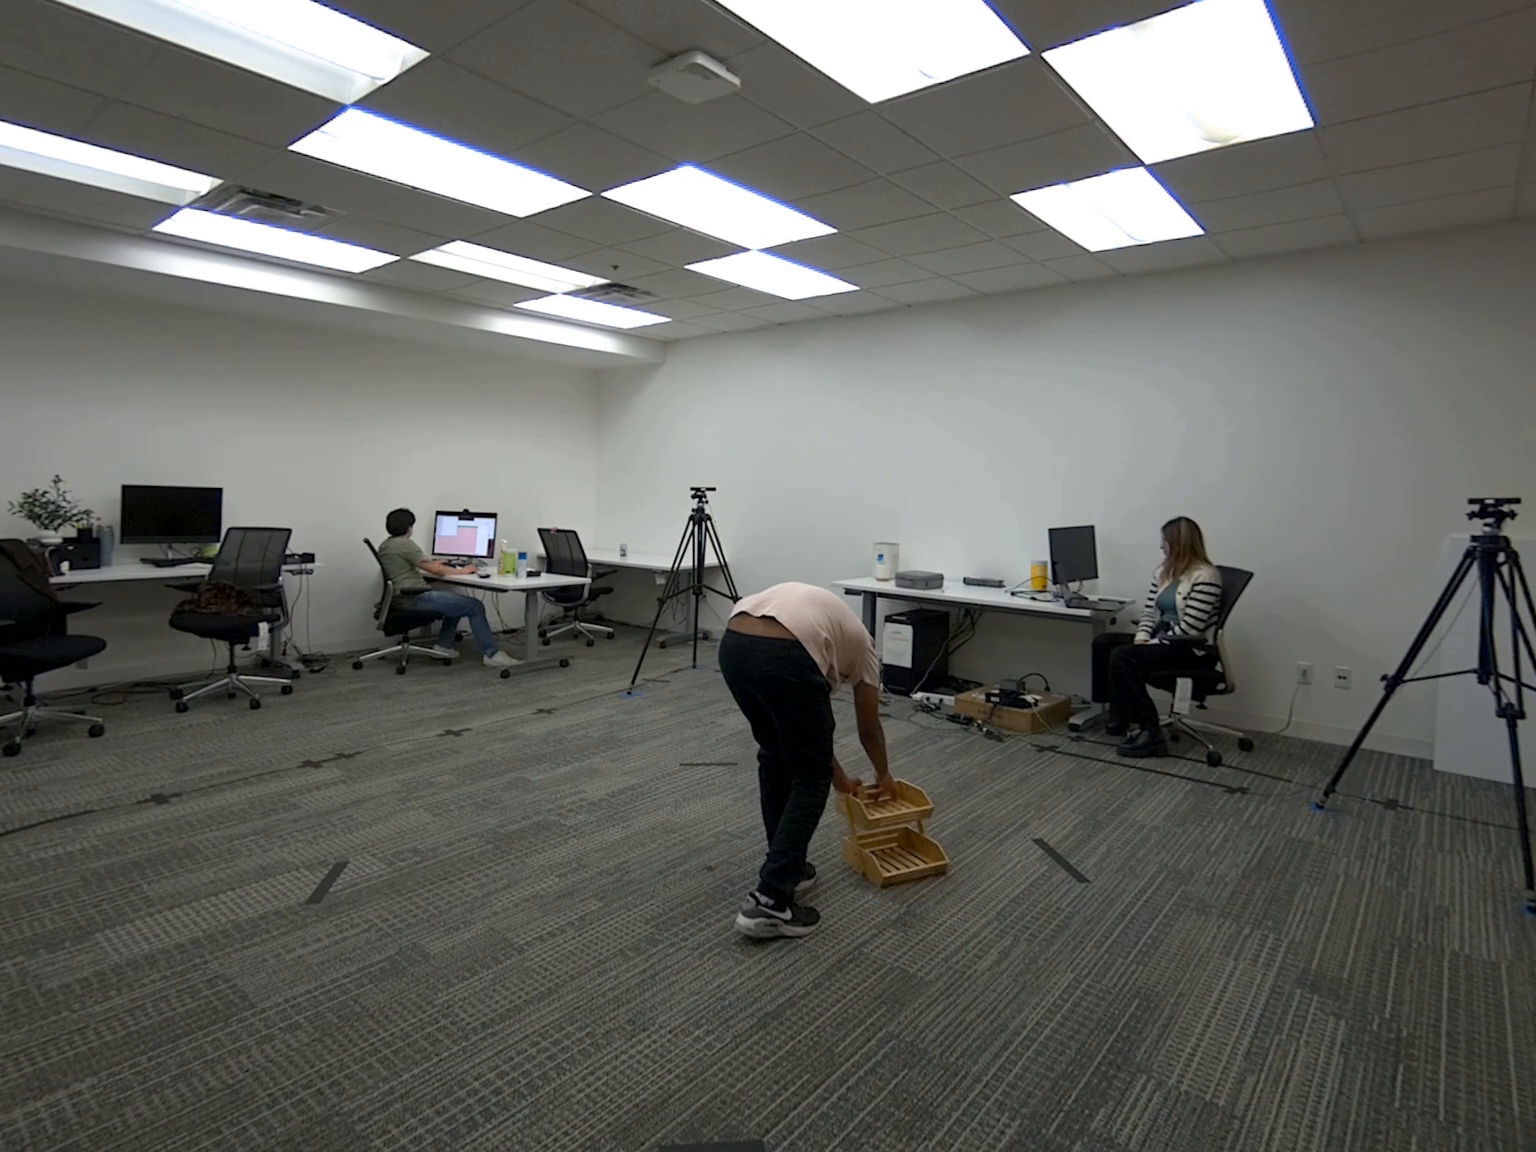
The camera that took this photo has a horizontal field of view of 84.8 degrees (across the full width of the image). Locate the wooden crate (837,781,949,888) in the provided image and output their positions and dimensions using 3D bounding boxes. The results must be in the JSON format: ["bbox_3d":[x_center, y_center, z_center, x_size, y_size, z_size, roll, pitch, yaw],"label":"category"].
[{"bbox_3d":[0.461,0.942,3.166,0.316,0.273,0.310,-1,4,-28],"label":"wooden crate"}]
